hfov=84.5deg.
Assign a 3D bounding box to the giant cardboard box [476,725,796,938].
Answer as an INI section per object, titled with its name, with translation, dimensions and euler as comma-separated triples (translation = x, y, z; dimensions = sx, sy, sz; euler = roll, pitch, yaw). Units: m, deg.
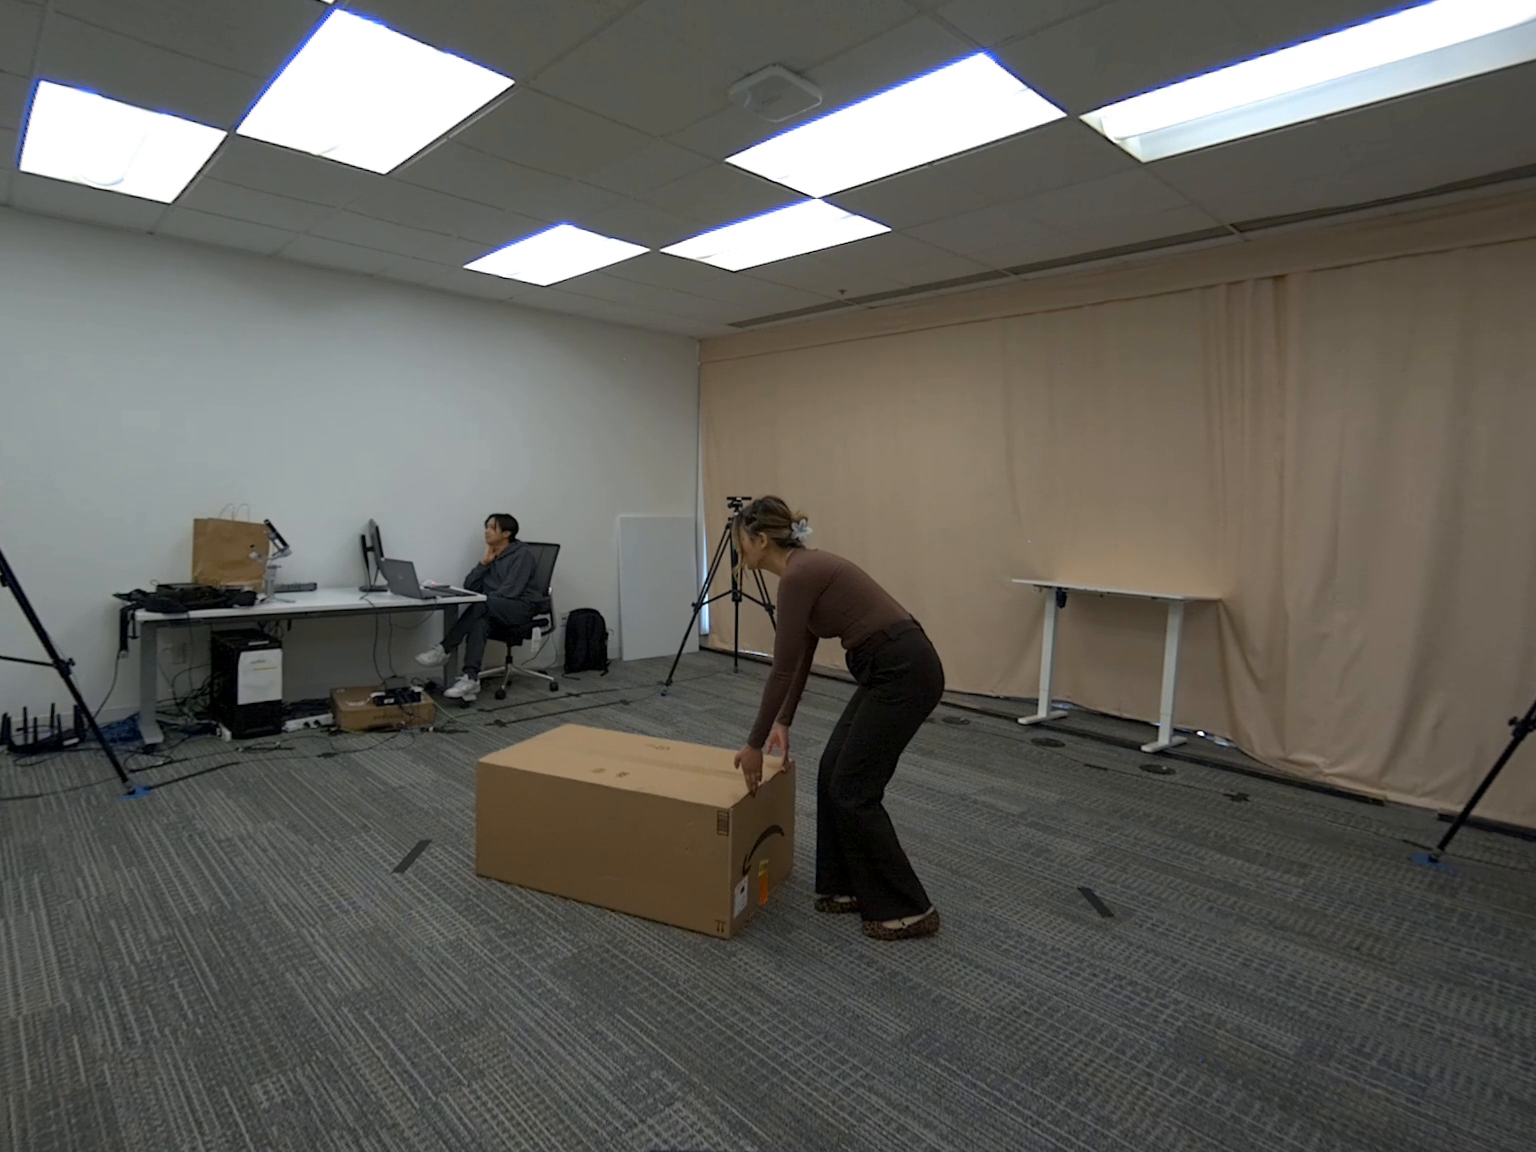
[giant cardboard box]
translation = -0.484, 0.888, 3.099
dimensions = 1.047, 0.446, 0.574
euler = 4, 4, 24
